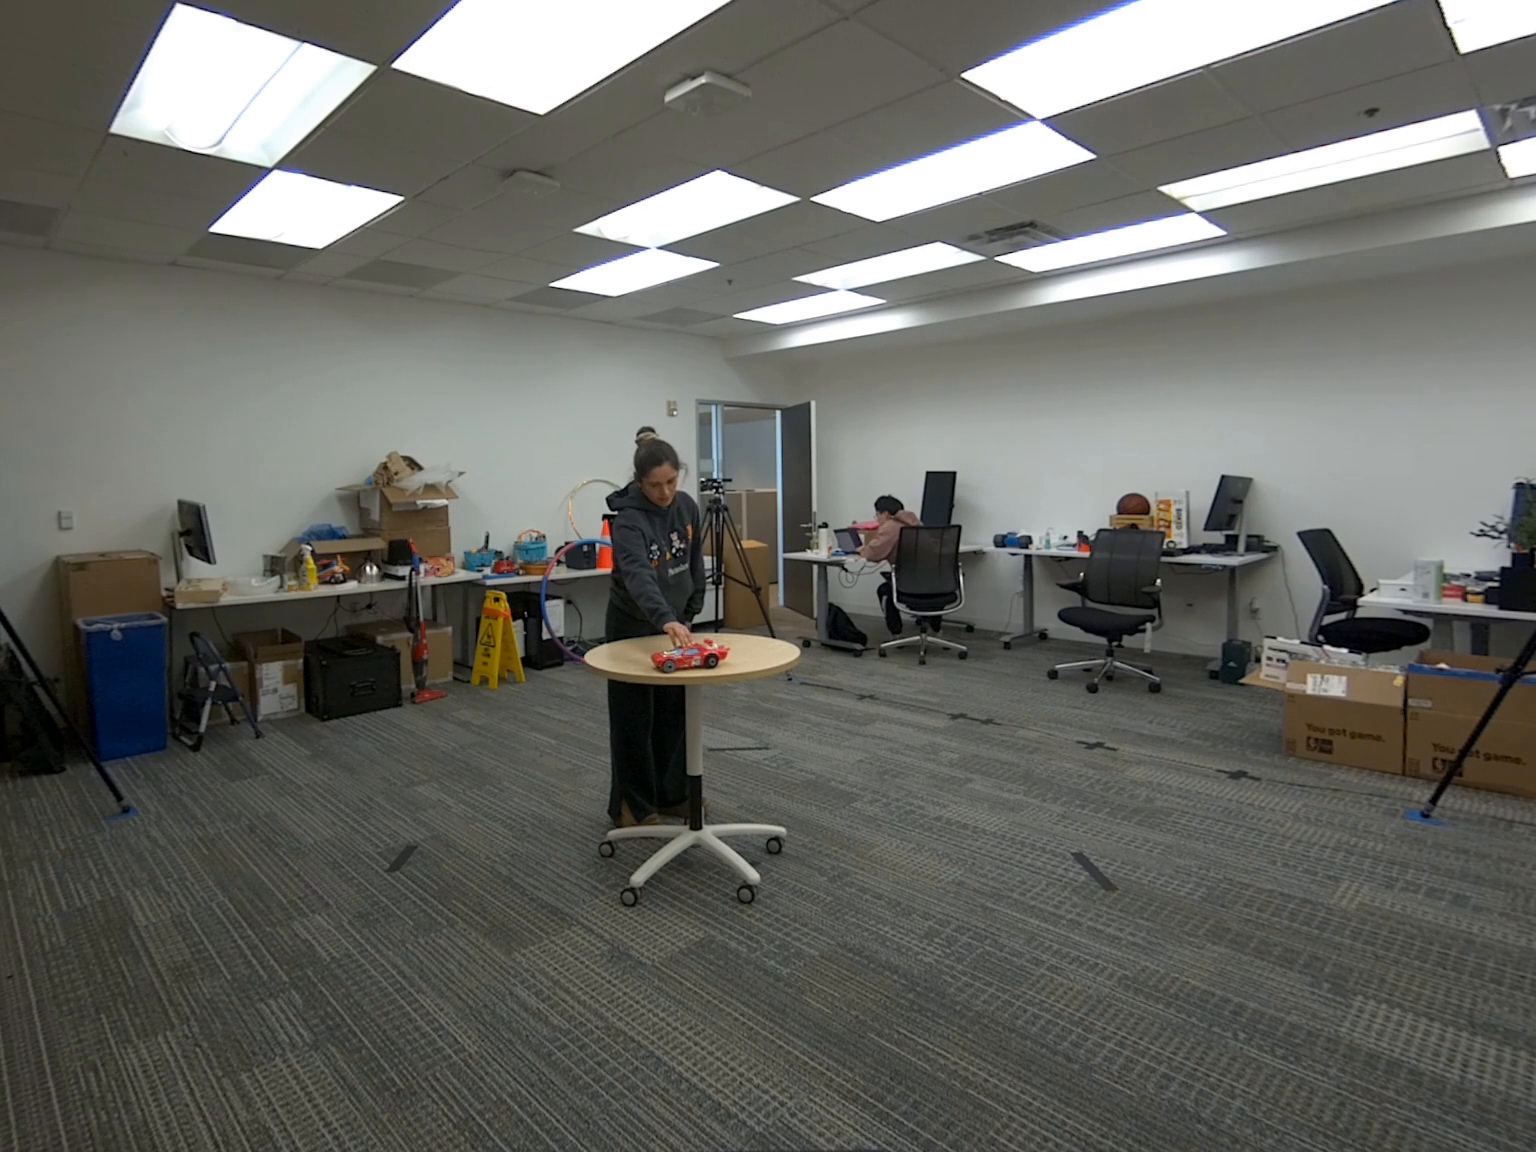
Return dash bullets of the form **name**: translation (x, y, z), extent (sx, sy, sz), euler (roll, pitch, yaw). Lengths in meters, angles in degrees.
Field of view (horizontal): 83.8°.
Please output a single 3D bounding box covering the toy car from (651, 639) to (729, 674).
- **toy car**: translation (-0.244, 0.271, 2.784), extent (0.251, 0.082, 0.133), euler (-15, 10, -20)
